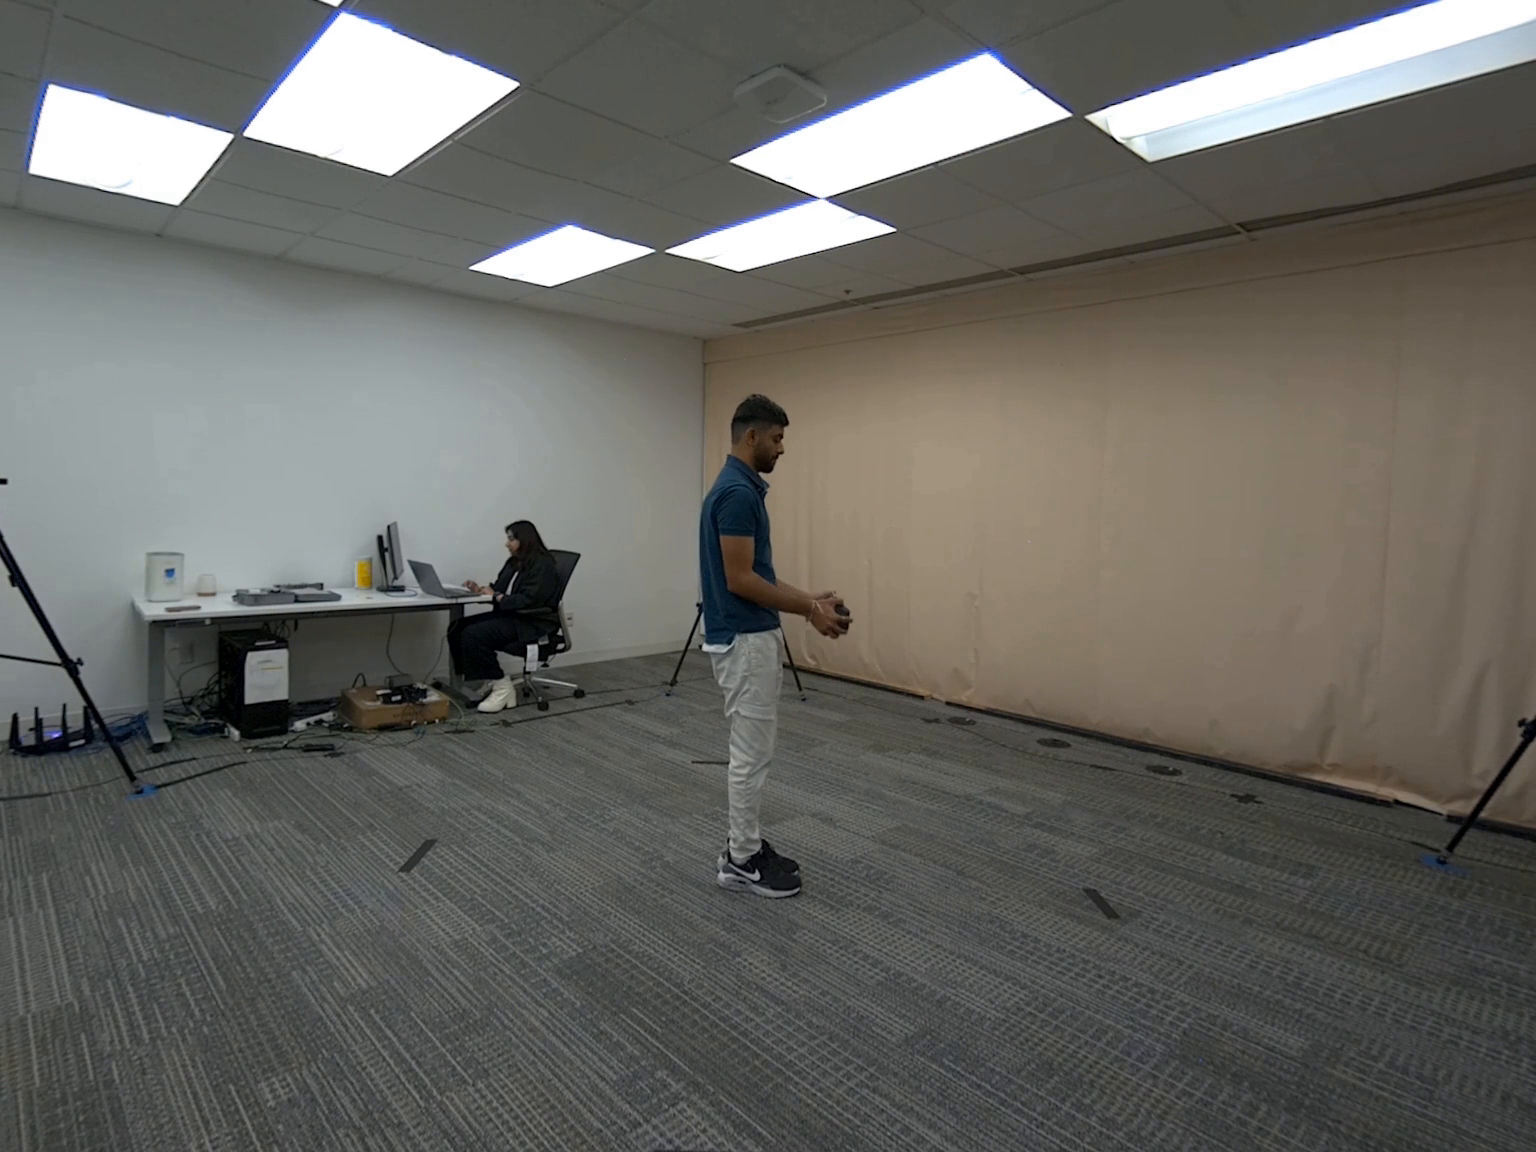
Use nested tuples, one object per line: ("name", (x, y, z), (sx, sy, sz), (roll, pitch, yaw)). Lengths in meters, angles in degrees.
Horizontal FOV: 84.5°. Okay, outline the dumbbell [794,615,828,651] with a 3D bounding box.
("dumbbell", (0.151, 0.172, 3.007), (0.109, 0.122, 0.293), (3, 5, 3))
